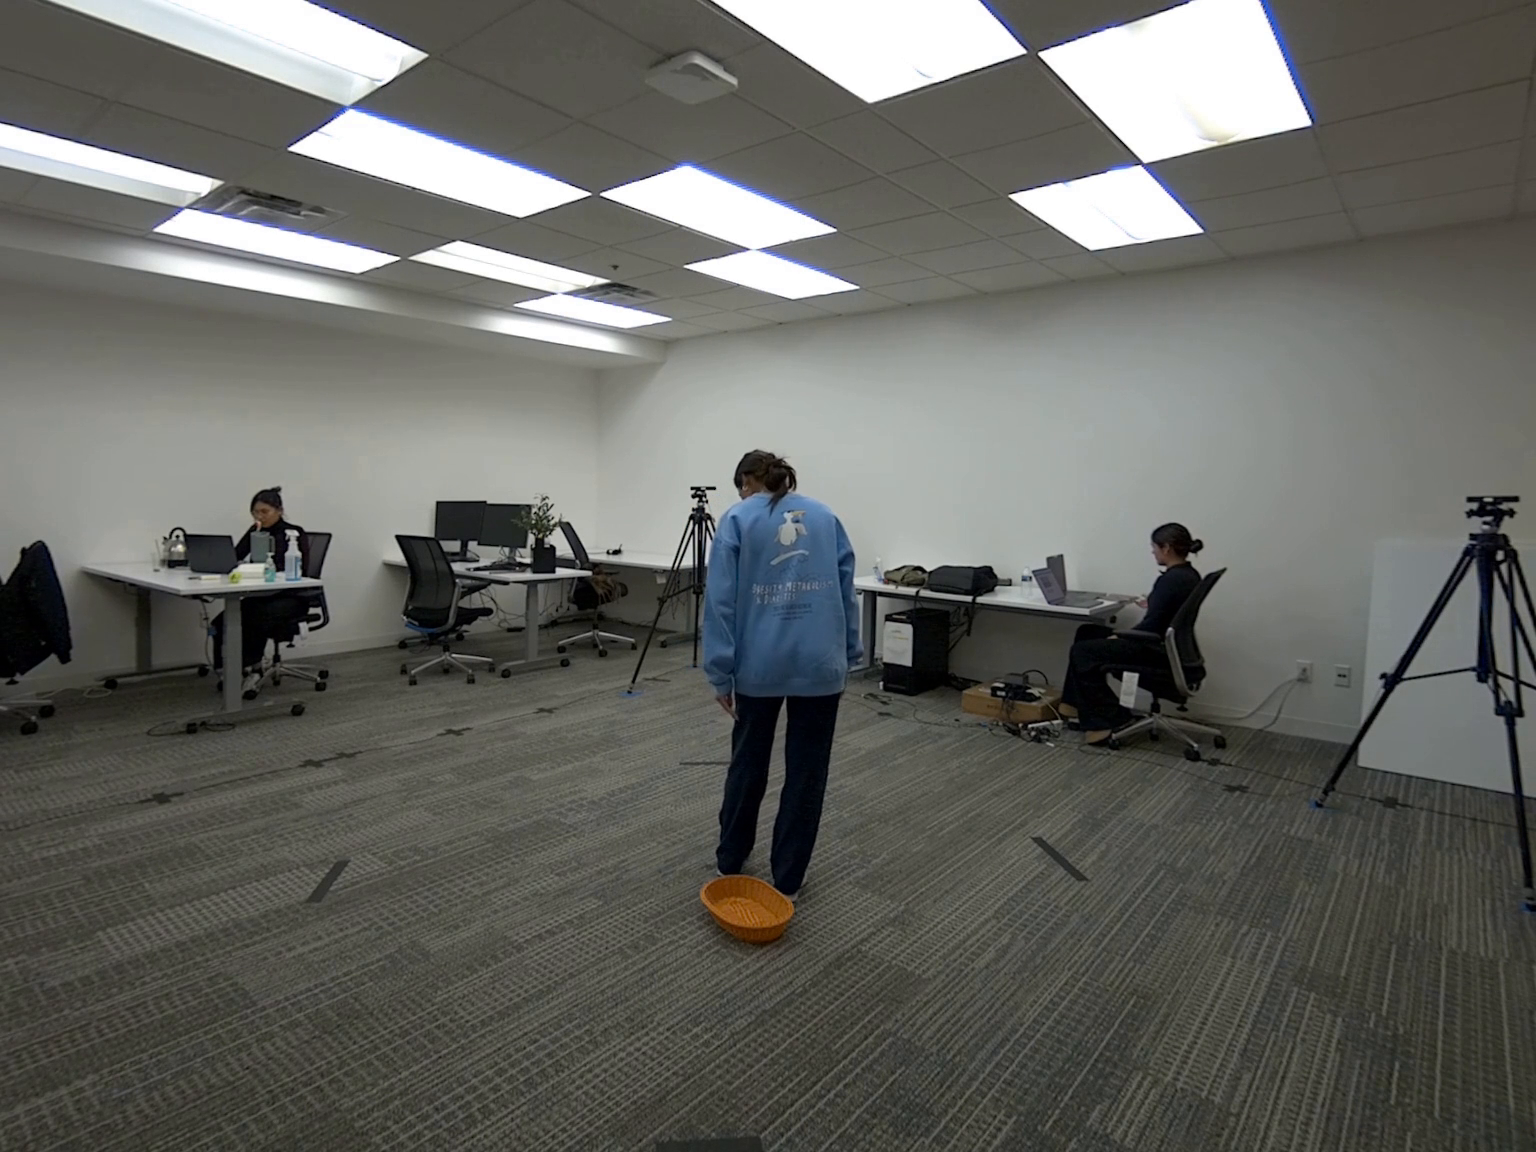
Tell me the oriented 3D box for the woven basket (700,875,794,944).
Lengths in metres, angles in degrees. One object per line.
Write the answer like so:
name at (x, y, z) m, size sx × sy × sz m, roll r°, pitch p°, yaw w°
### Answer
woven basket at (-0.079, 1.065, 2.732) m, size 0.246 × 0.073 × 0.361 m, roll -3°, pitch 7°, yaw -31°
